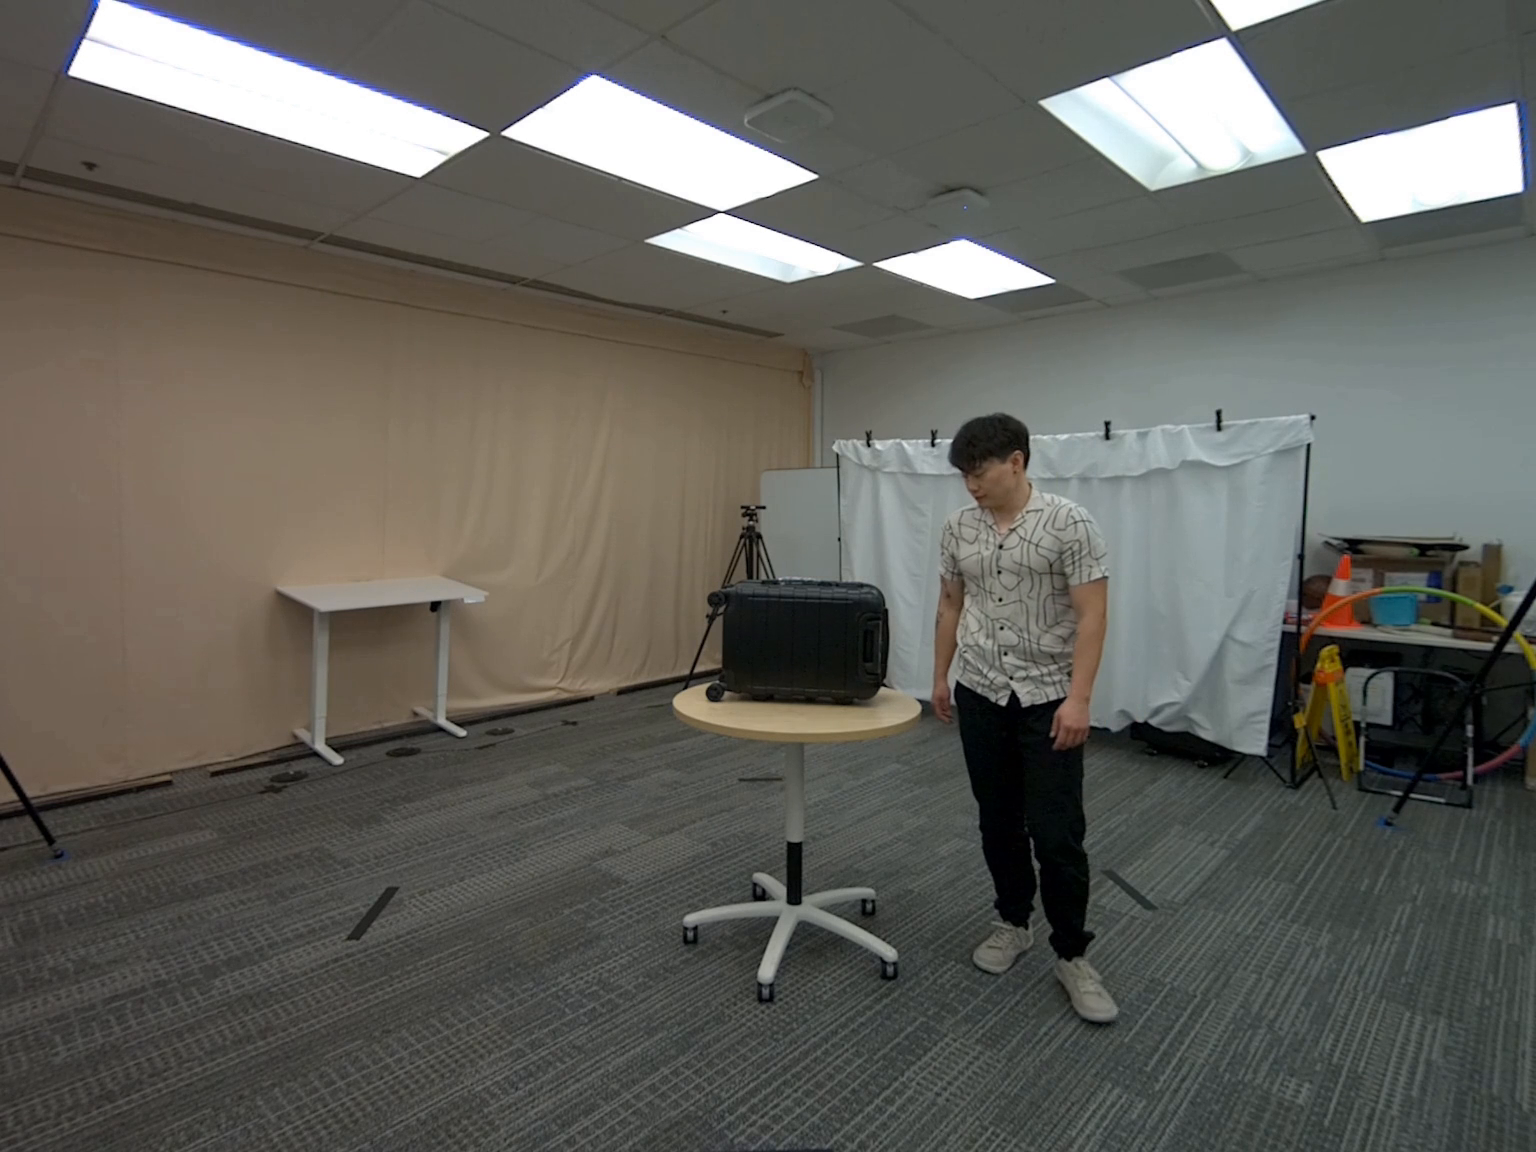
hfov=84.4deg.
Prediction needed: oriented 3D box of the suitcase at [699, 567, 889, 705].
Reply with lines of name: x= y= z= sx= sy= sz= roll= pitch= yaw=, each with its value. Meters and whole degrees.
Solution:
suitcase: x=0.104 y=0.198 z=2.668 sx=0.556 sy=0.375 sz=0.246 roll=0 pitch=3 yaw=11
